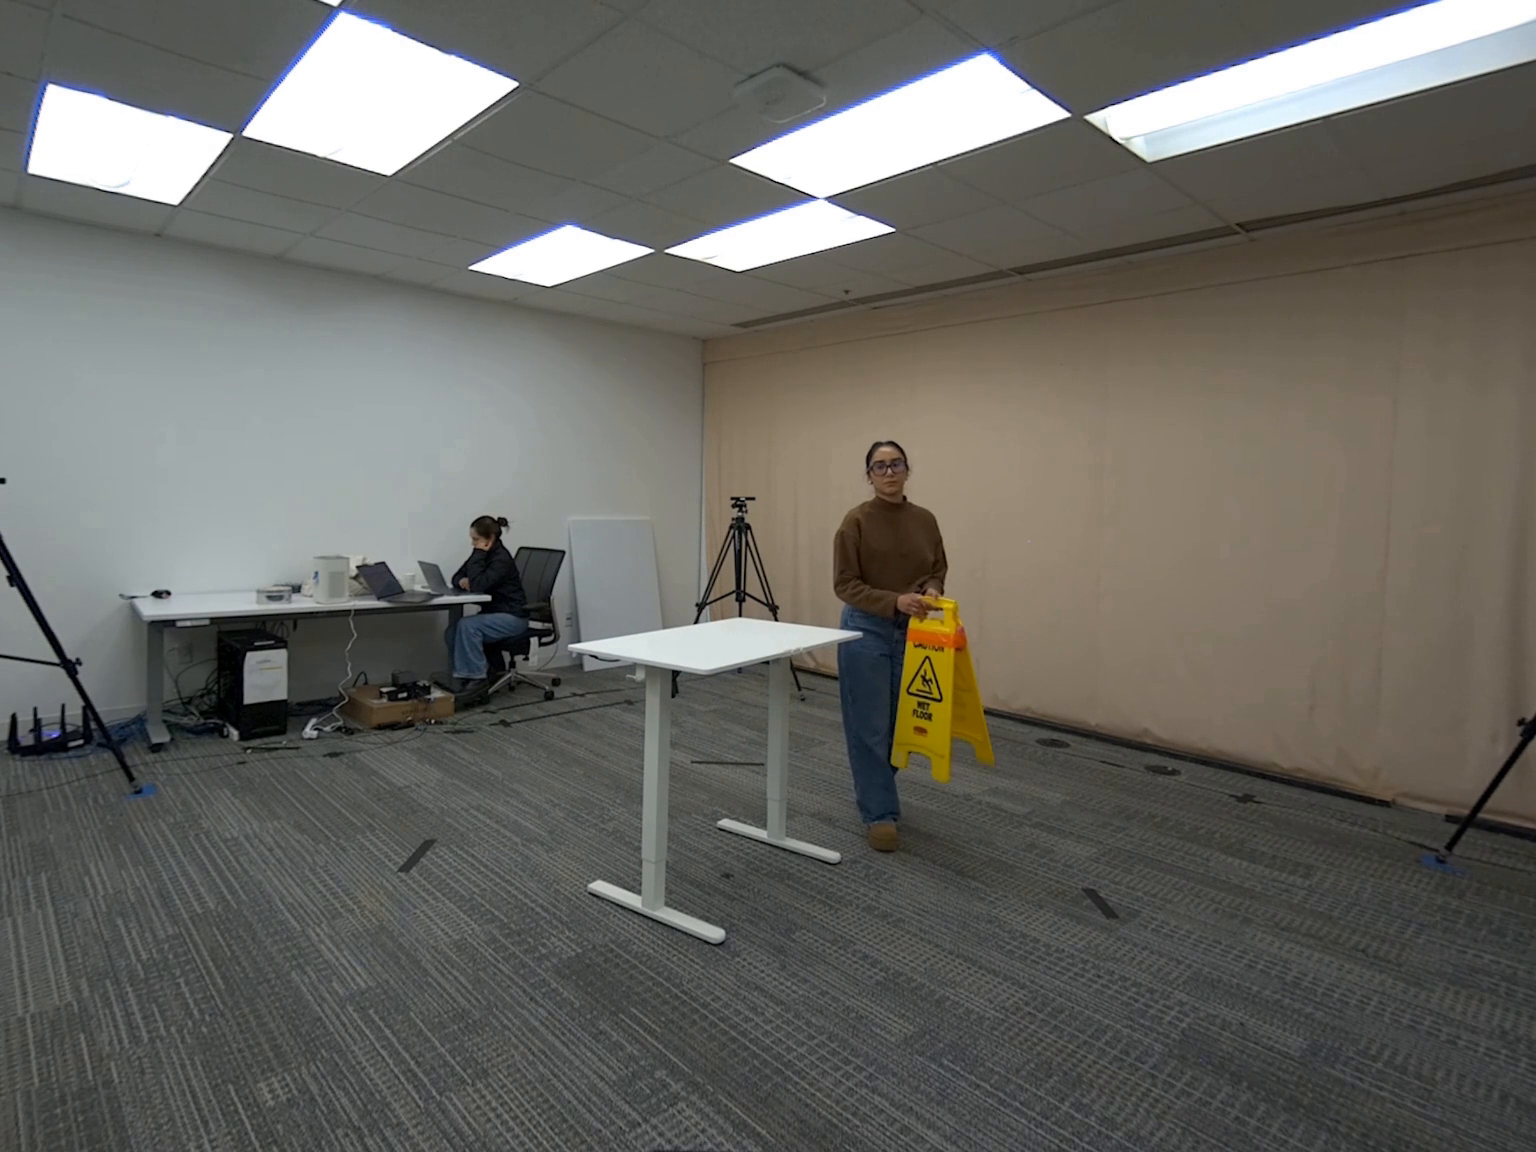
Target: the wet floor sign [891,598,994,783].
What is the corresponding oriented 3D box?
[{"bbox_3d":[0.641,0.405,3.203,0.284,0.643,0.289,-7,6,-37],"label":"wet floor sign"}]
